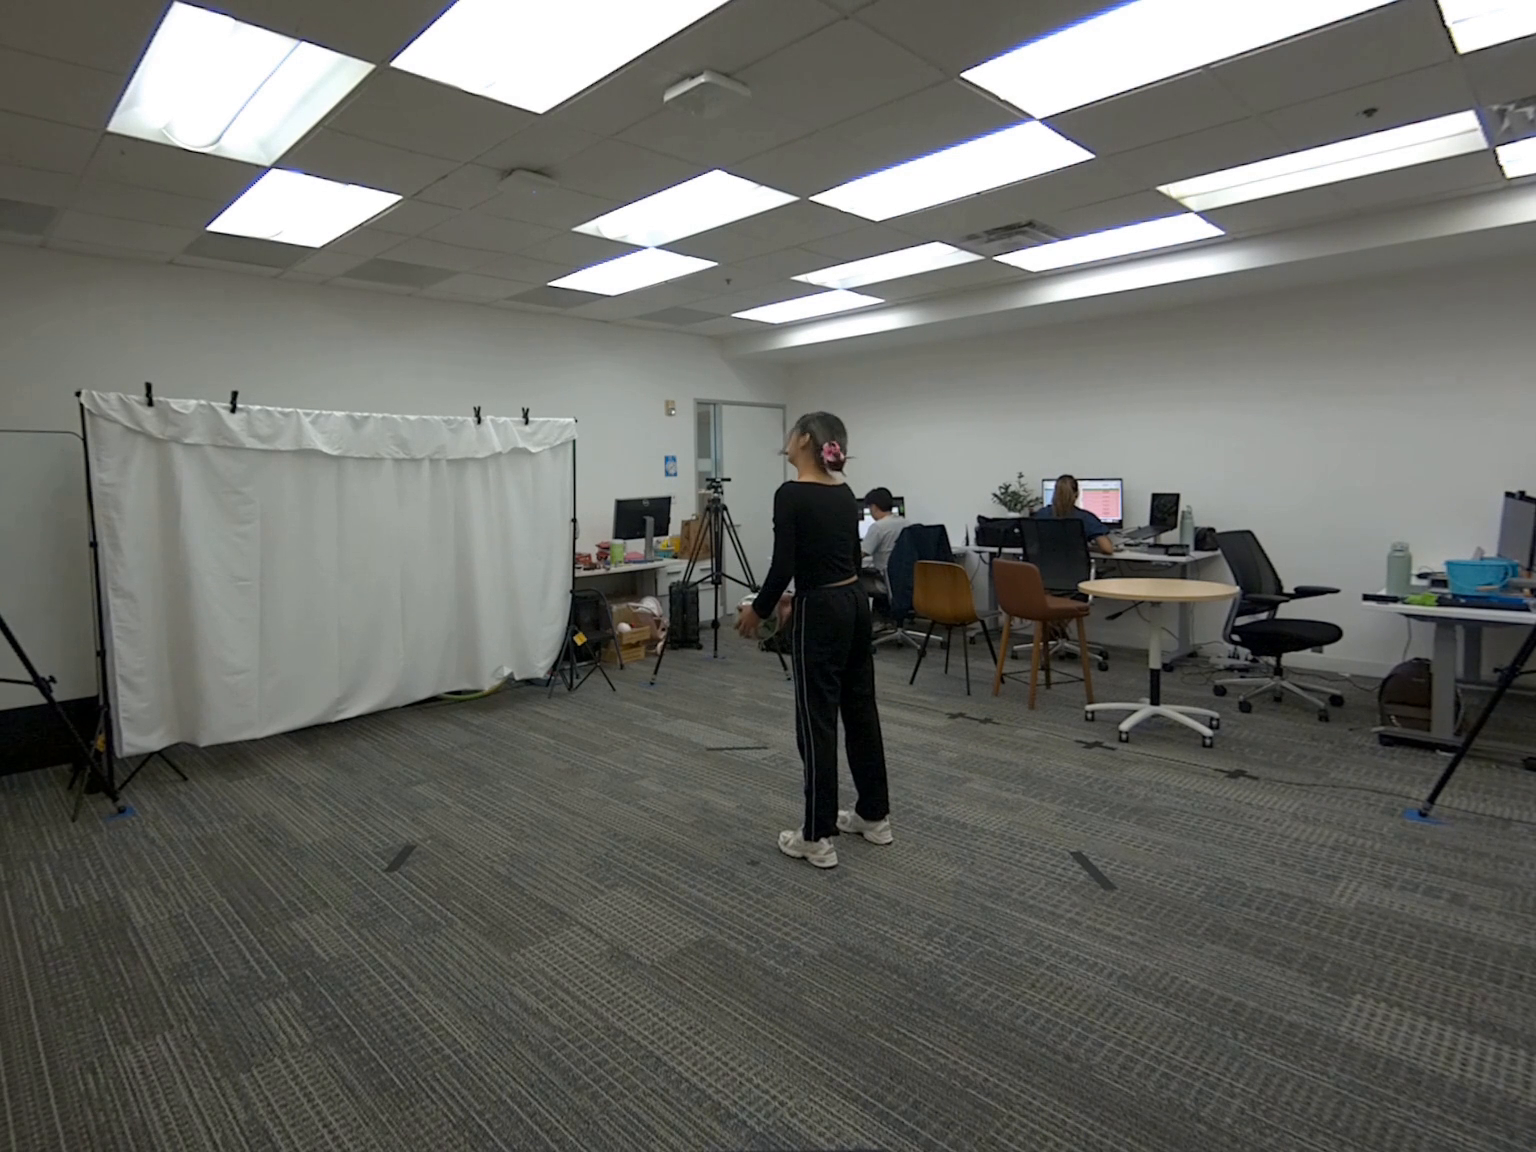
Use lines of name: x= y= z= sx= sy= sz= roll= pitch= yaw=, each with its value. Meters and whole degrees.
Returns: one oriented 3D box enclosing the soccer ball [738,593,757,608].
soccer ball: x=-0.032 y=0.165 z=3.366 sx=0.187 sy=0.187 sz=0.188 roll=-1 pitch=5 yaw=-2
